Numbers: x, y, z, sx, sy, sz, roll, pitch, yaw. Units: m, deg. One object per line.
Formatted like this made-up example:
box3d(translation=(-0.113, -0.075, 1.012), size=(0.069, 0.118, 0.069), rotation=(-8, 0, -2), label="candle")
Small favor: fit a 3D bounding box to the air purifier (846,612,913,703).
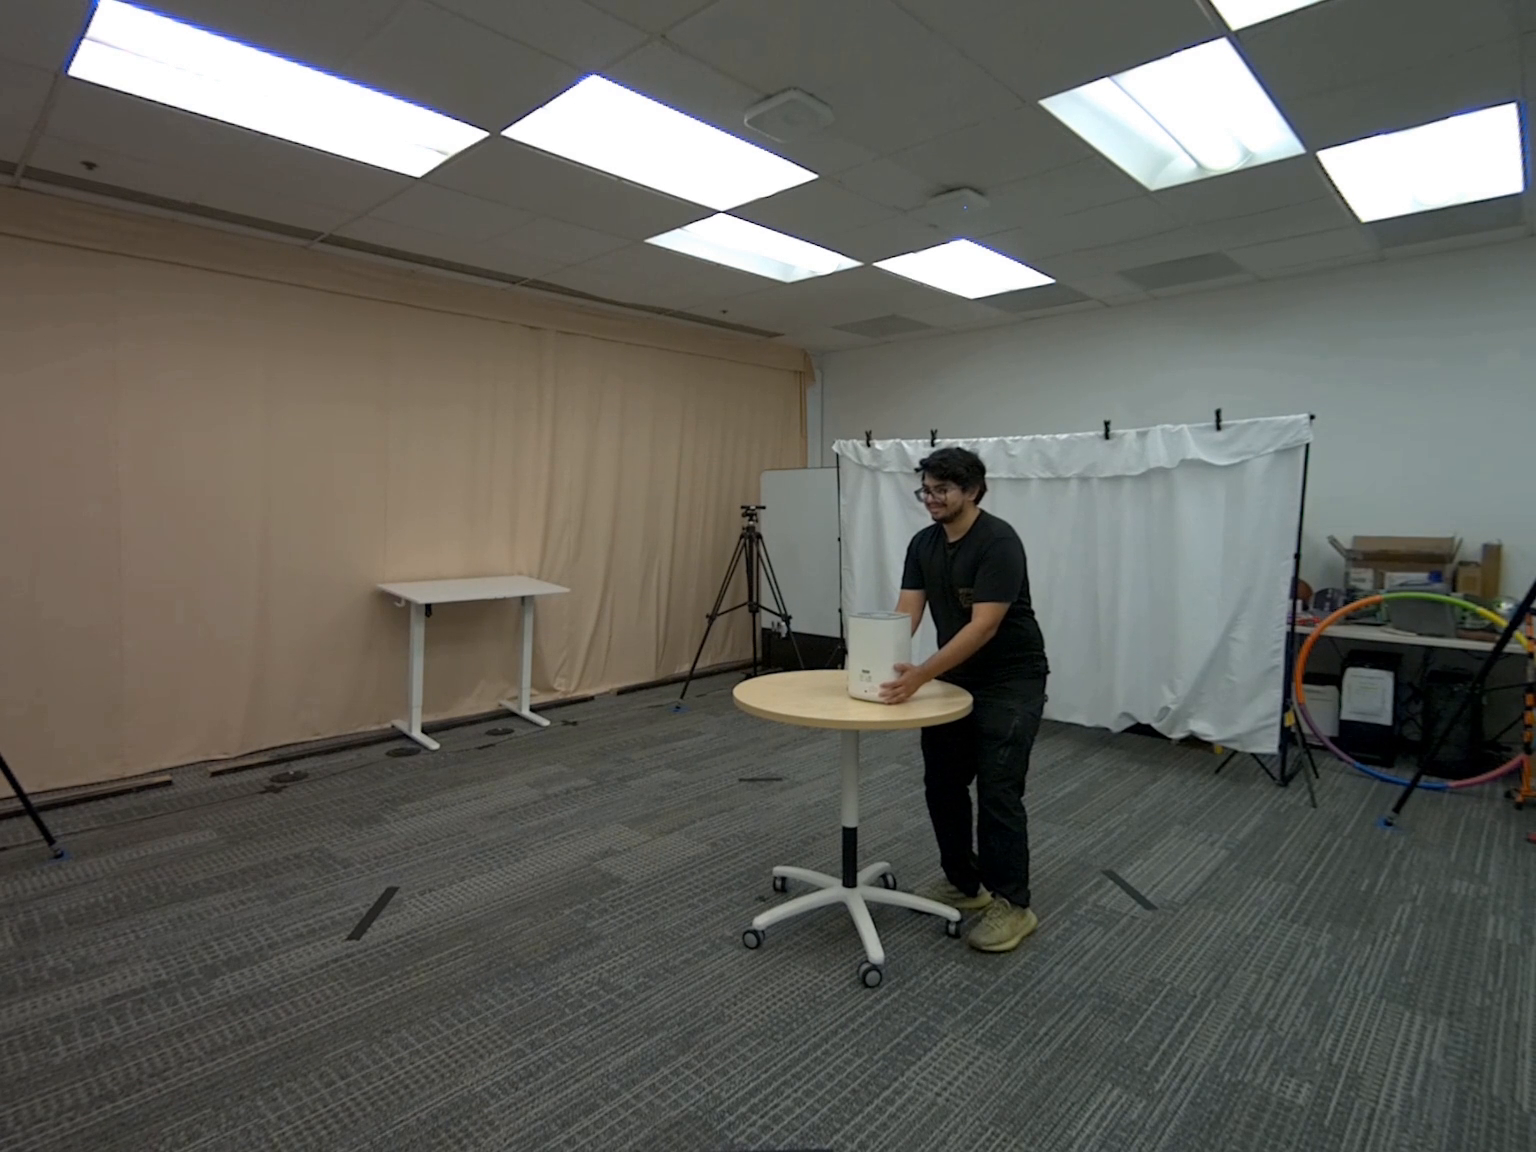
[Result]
box3d(translation=(0.363, 0.256, 2.652), size=(0.176, 0.265, 0.166), rotation=(2, 4, 35), label="air purifier")
